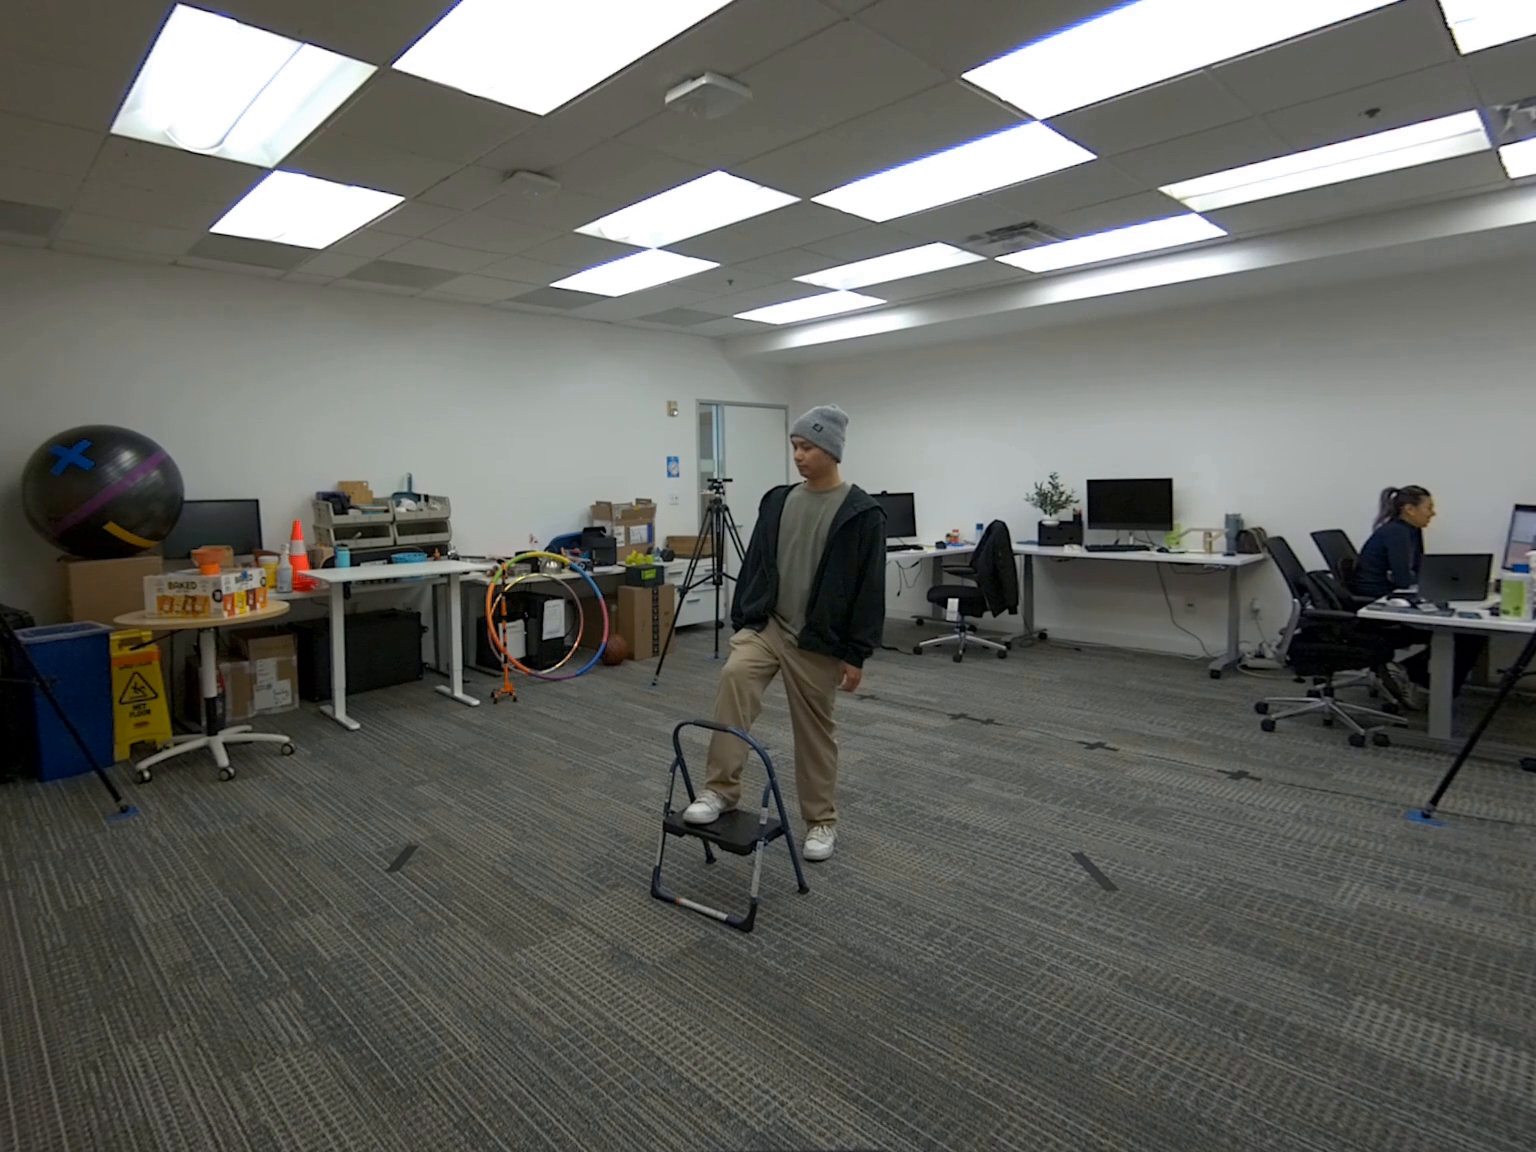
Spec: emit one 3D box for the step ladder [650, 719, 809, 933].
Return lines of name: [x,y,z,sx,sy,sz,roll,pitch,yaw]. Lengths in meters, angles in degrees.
step ladder: [-0.136,0.771,2.864,0.443,0.604,0.341,2,5,35]
